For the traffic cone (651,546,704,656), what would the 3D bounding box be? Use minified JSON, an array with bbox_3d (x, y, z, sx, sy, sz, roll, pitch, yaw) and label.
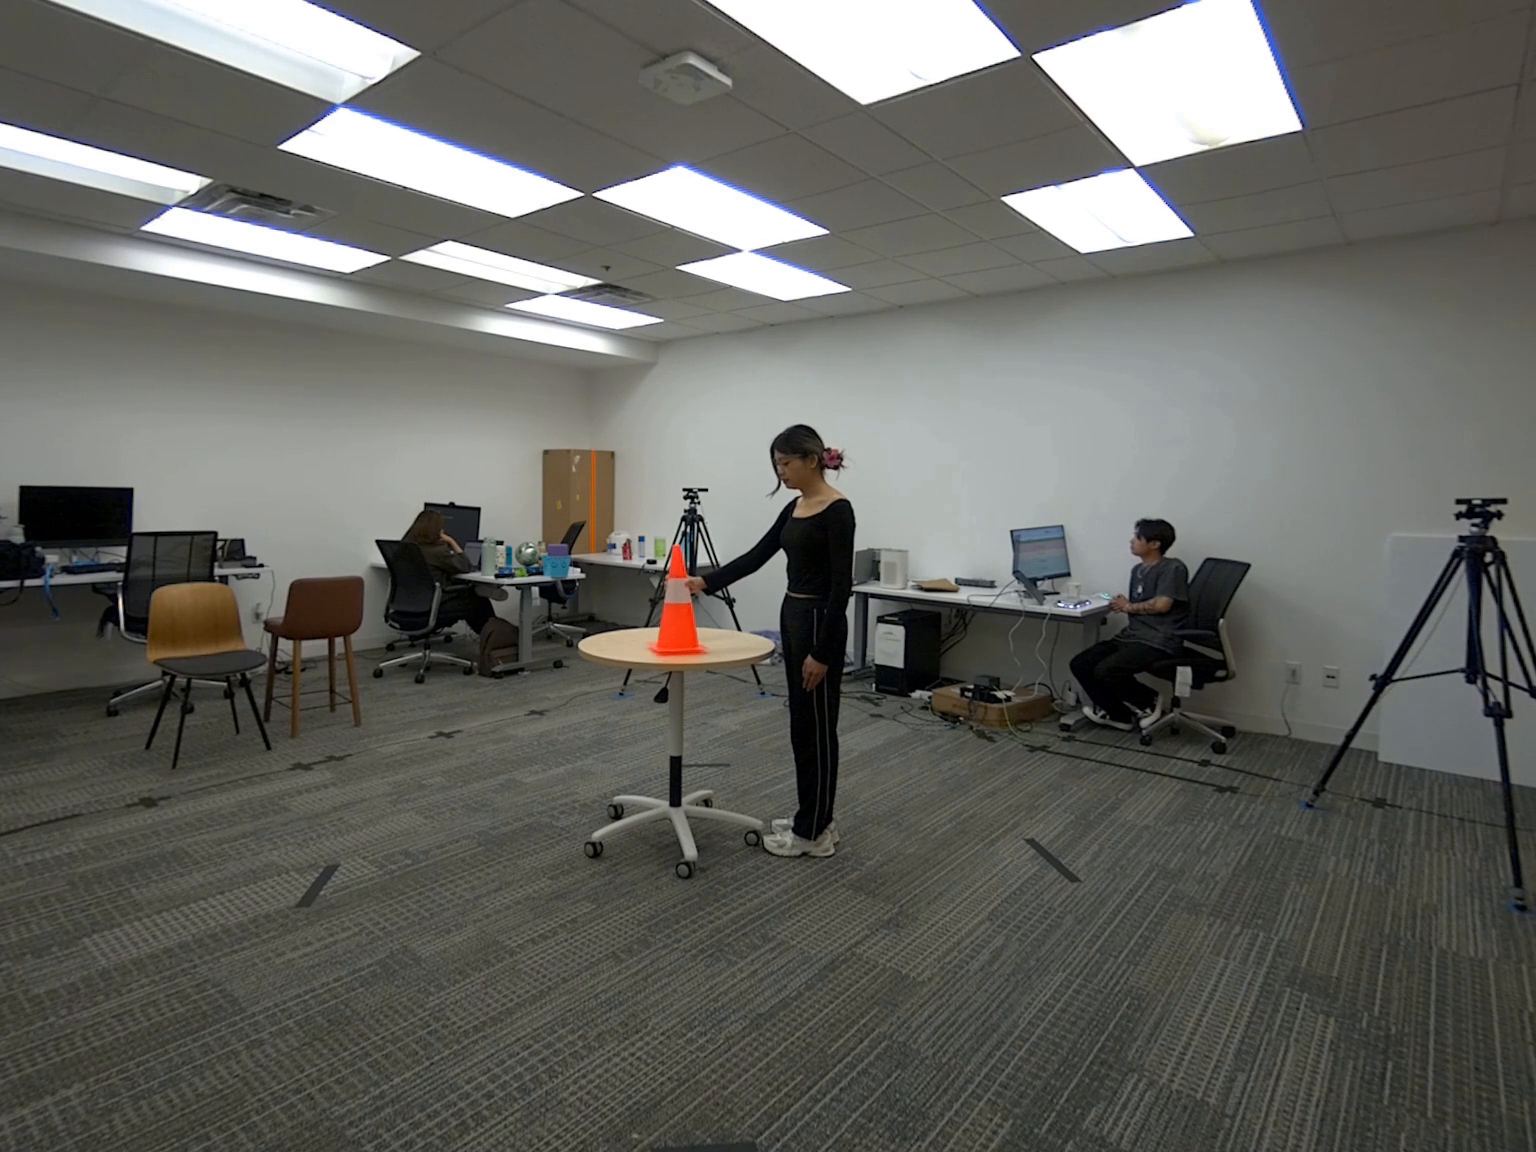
[{"bbox_3d":[-0.348,0.074,3.194,0.200,0.383,0.209,0,2,-19],"label":"traffic cone"}]
